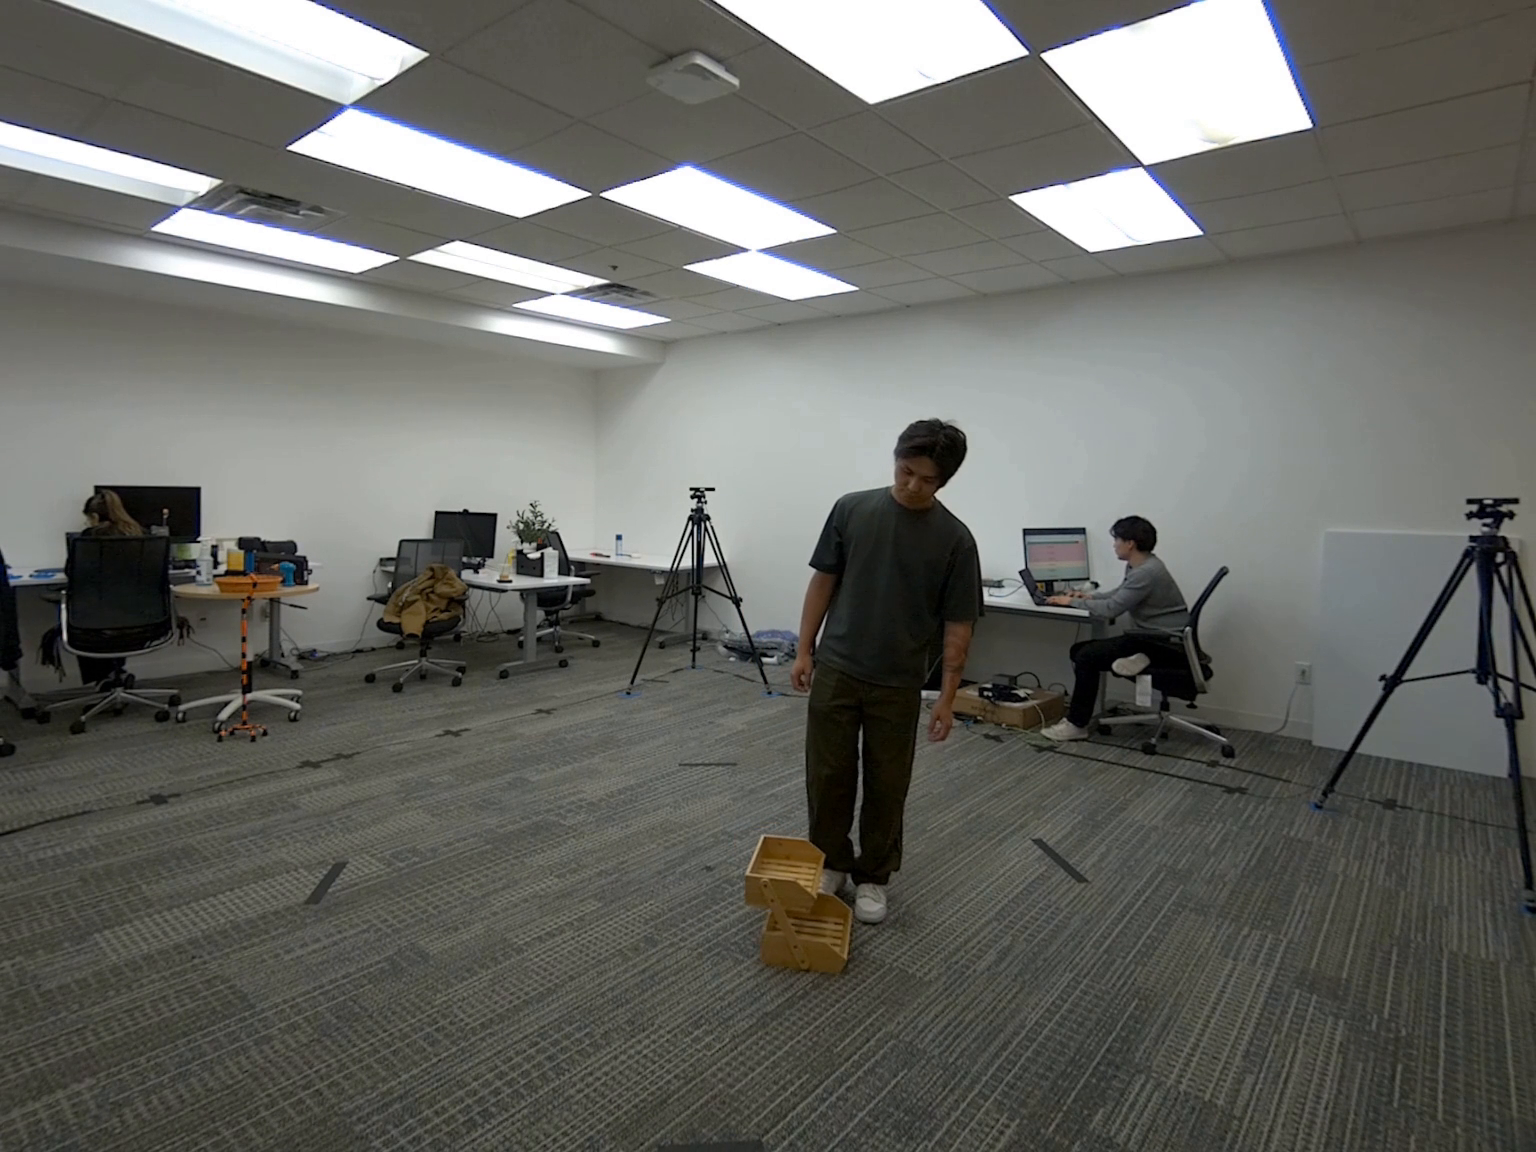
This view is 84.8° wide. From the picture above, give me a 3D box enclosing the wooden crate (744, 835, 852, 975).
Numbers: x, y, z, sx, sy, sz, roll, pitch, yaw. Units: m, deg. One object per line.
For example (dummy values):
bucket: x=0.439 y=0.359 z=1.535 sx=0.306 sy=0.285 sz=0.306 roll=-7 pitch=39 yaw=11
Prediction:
wooden crate: x=0.096 y=0.988 z=2.606 sx=0.306 sy=0.272 sz=0.321 roll=1 pitch=5 yaw=11
